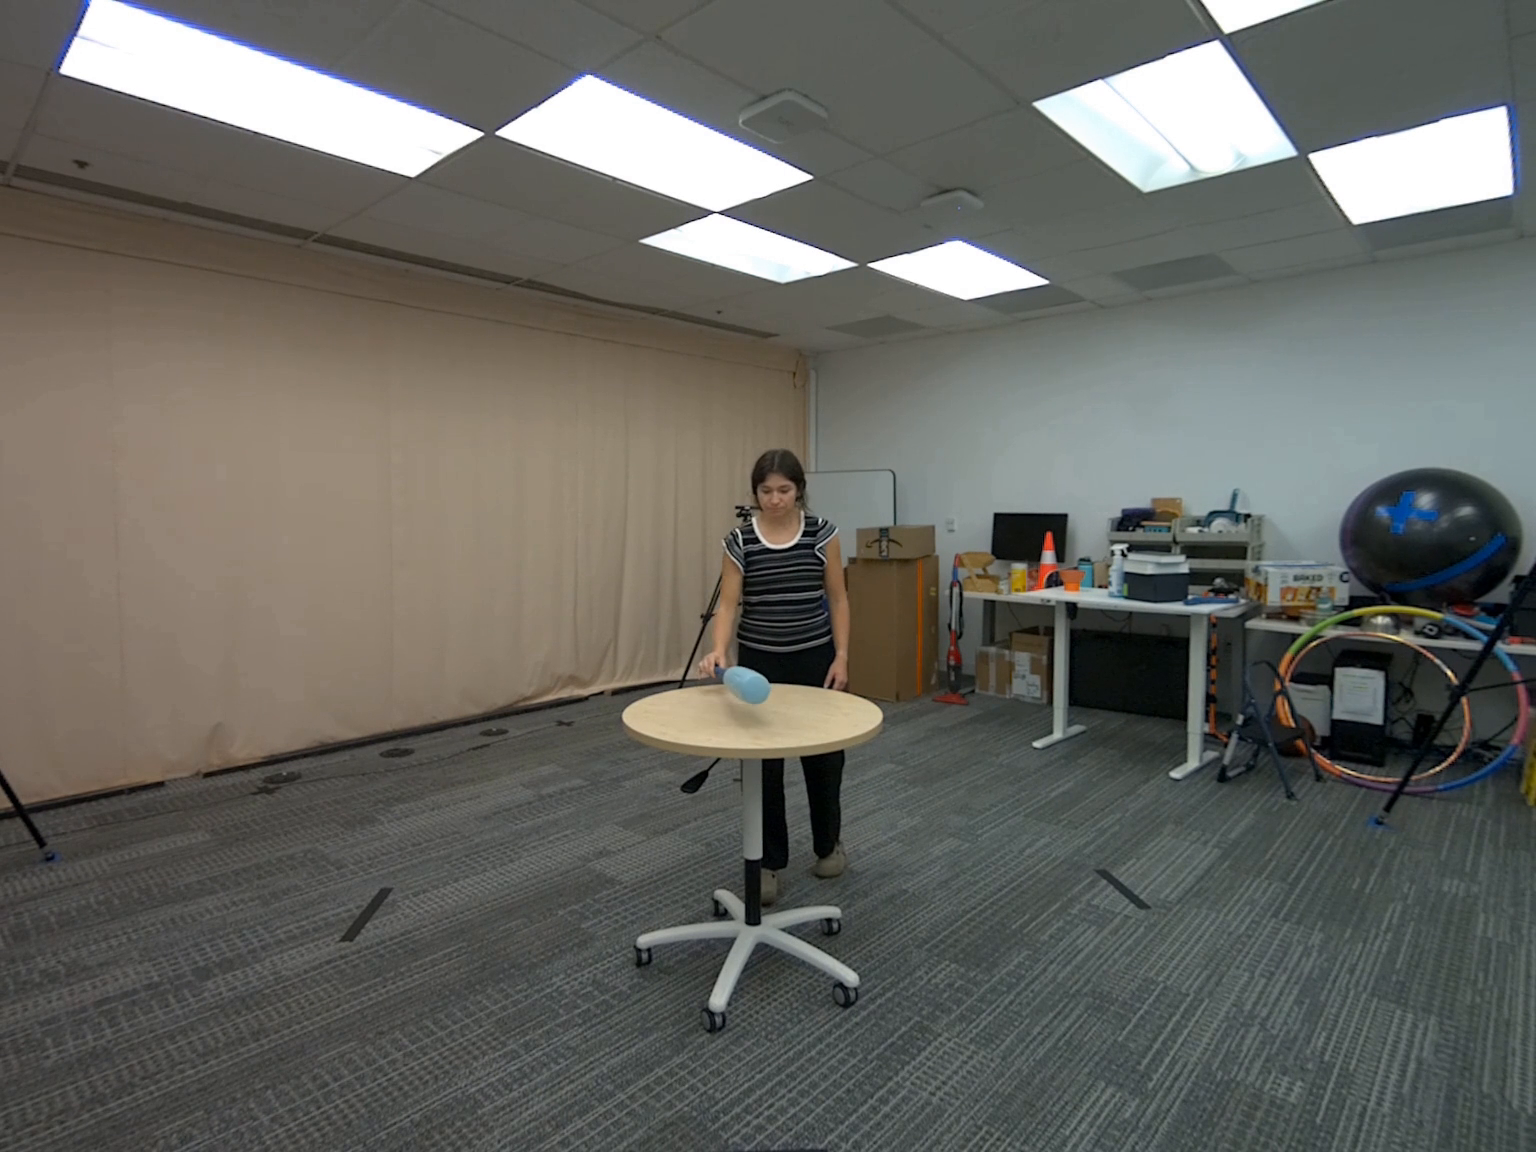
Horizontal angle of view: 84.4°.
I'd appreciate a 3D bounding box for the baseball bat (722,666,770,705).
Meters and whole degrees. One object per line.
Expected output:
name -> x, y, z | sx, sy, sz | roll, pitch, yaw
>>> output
baseball bat -> -0.102, 0.301, 2.536 | 0.088, 0.089, 0.547 | 0, -1, -10
